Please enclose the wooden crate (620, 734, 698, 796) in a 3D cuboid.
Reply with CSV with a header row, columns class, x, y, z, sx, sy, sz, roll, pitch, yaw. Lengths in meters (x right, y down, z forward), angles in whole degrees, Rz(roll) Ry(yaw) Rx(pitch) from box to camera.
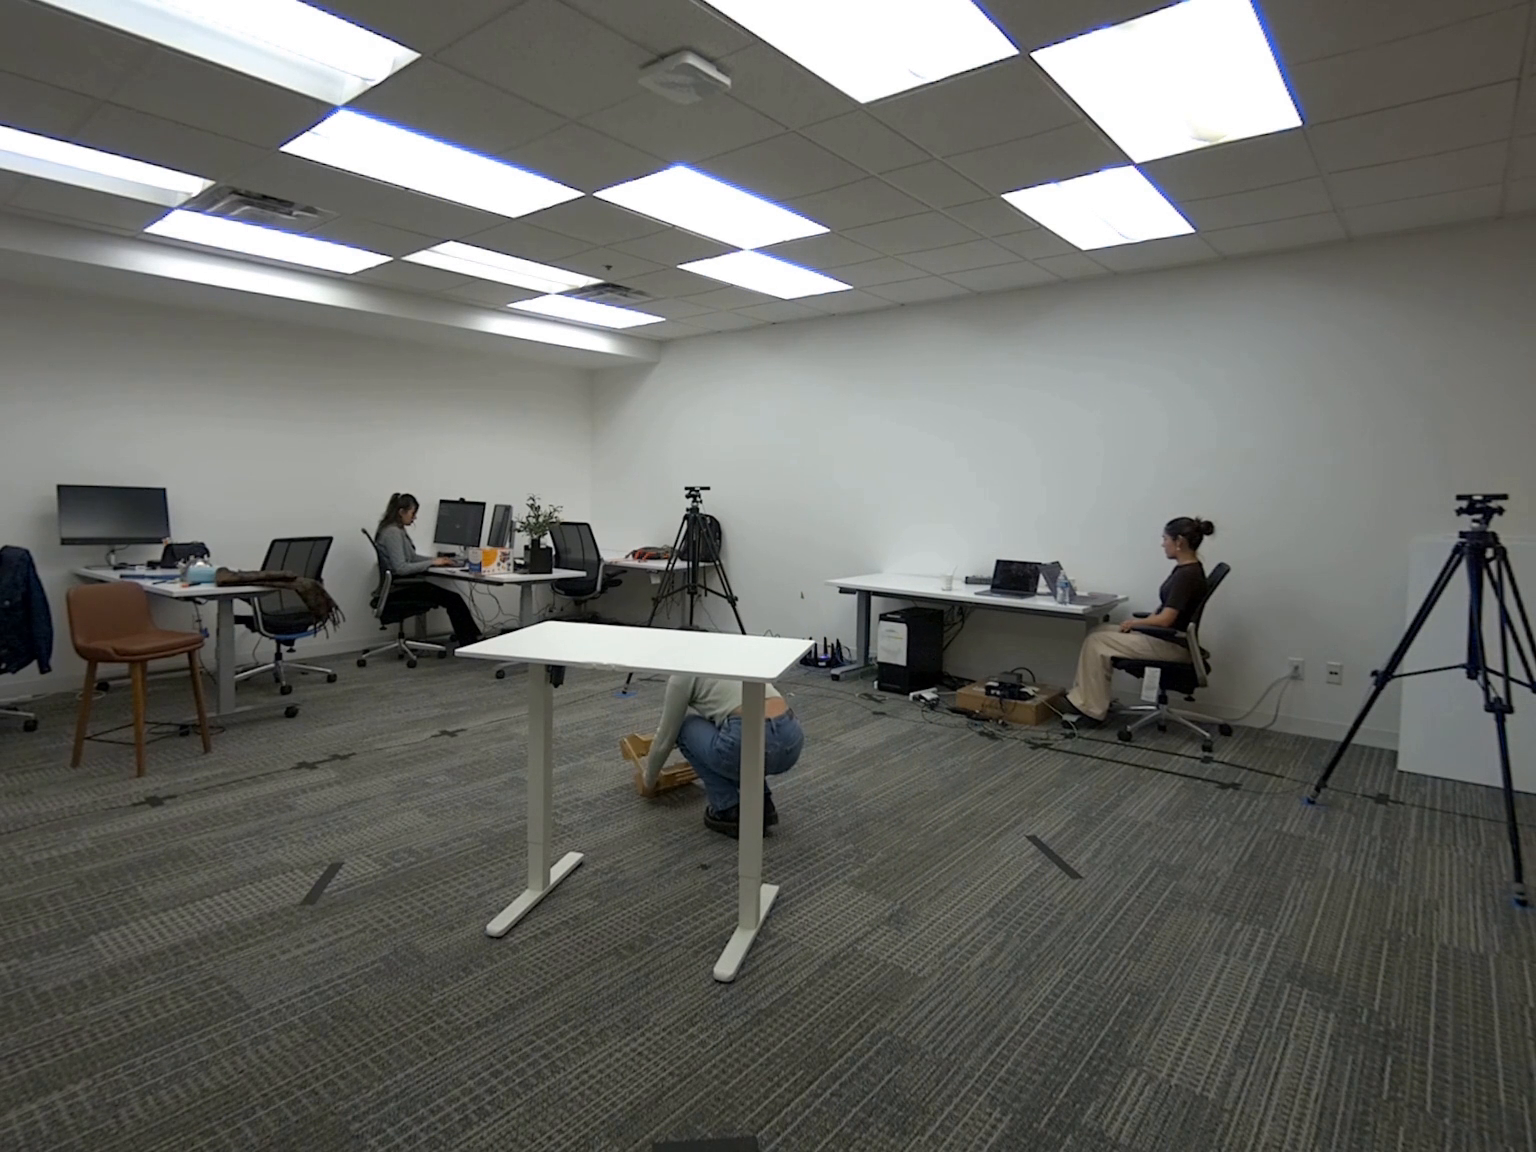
class,x,y,z,sx,sy,sz,roll,pitch,yaw
wooden crate,-0.471,0.814,3.917,0.315,0.279,0.305,-4,-20,-40
